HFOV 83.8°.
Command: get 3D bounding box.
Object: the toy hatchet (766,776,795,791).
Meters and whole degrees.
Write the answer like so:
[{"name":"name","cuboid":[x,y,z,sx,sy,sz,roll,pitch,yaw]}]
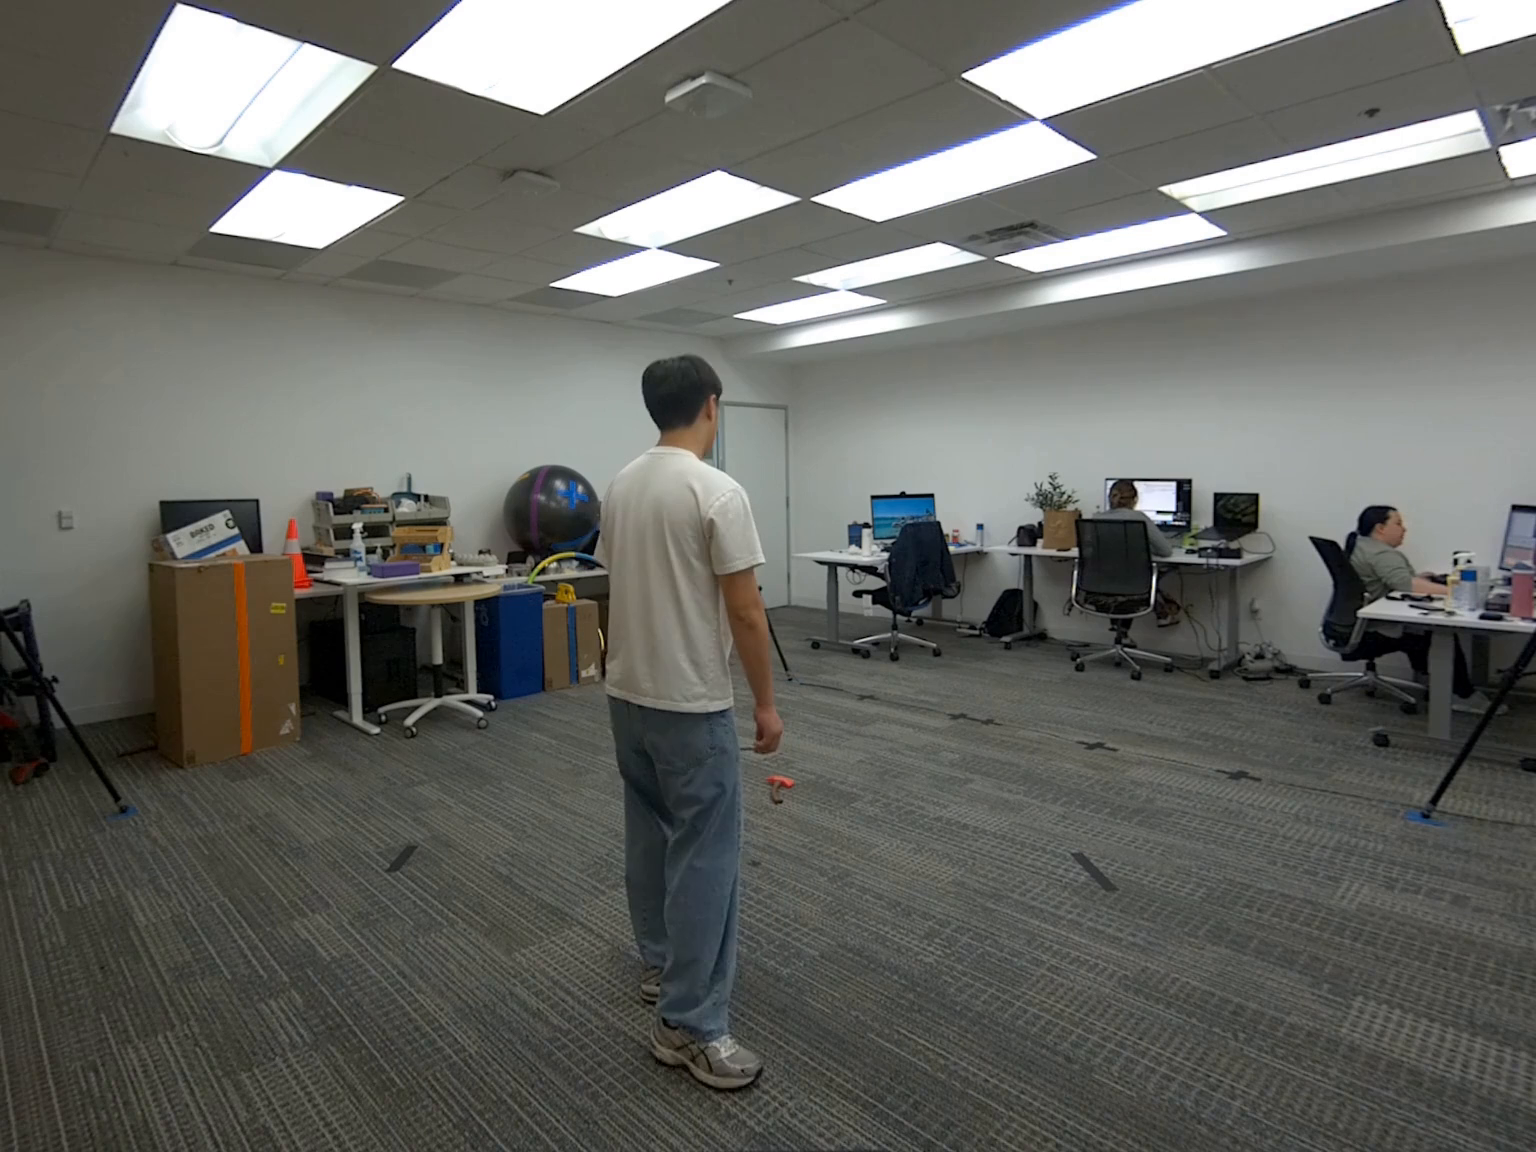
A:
[{"name":"toy hatchet","cuboid":[0.071,0.952,3.802,0.130,0.029,0.274,2,9,-9]}]
